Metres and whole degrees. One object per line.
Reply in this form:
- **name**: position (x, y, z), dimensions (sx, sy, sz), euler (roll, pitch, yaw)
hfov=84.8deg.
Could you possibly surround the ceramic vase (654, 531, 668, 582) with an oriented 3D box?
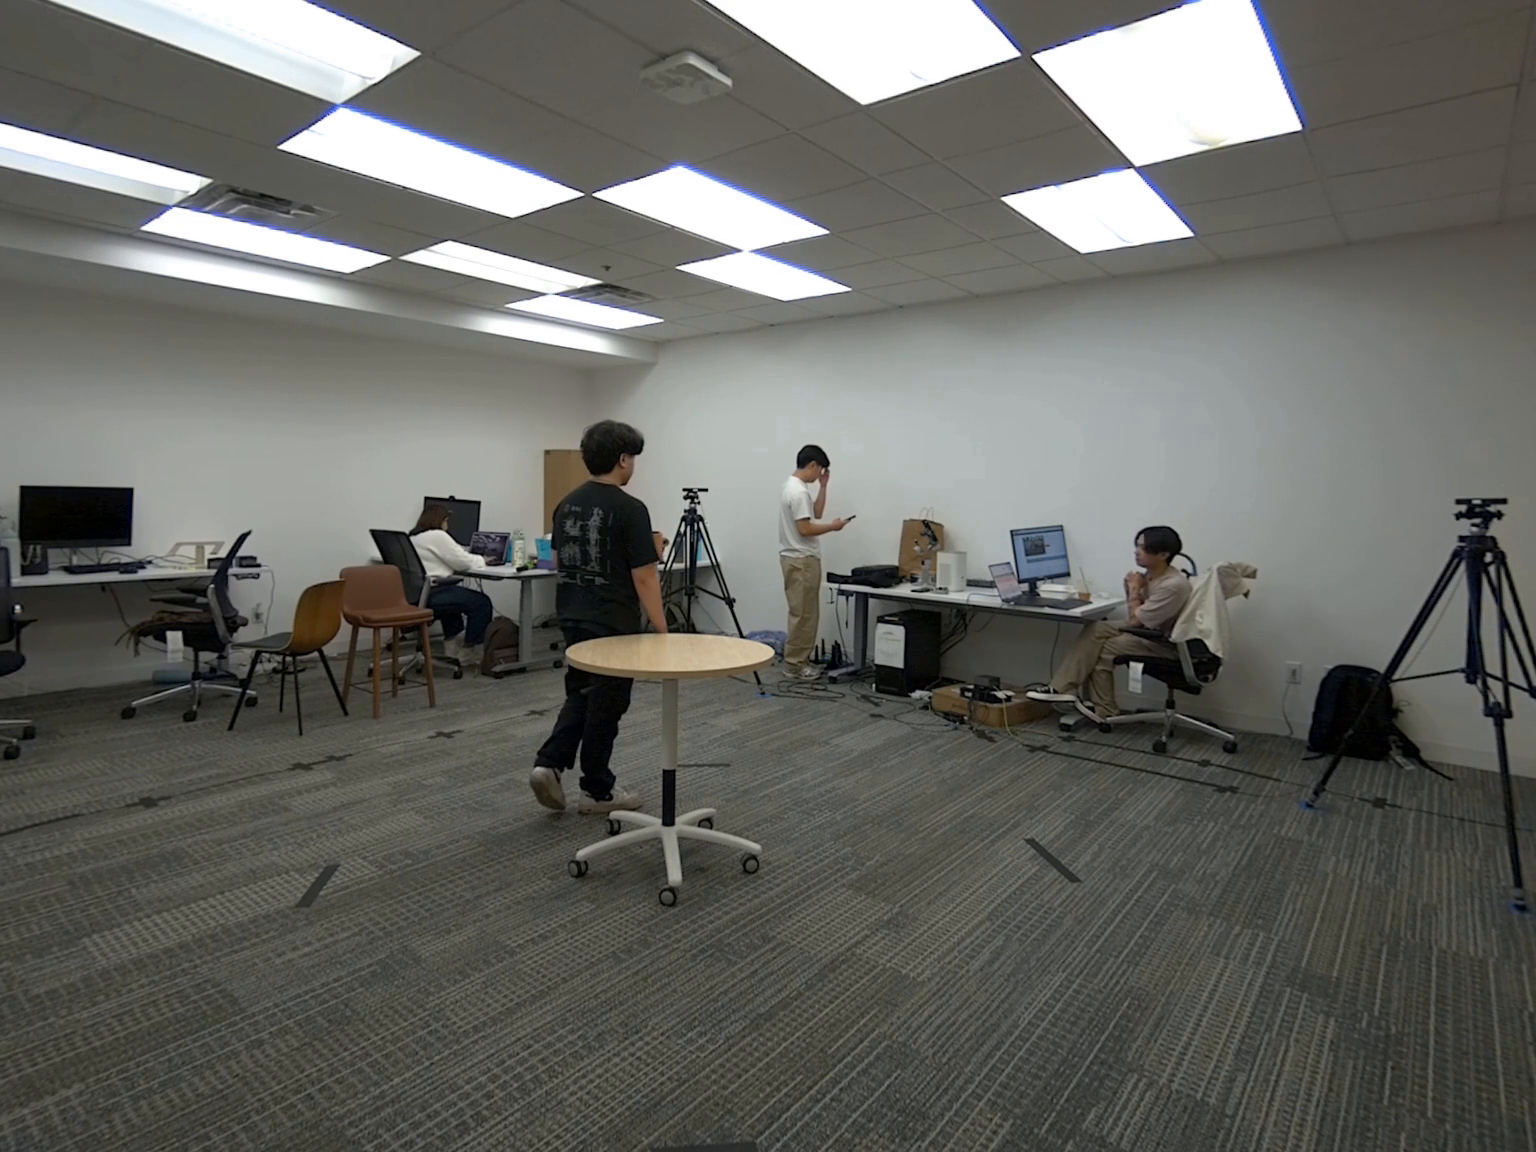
- **ceramic vase**: position (-0.570, -0.092, 3.895), dimensions (0.162, 0.218, 0.133), euler (5, 8, 18)
